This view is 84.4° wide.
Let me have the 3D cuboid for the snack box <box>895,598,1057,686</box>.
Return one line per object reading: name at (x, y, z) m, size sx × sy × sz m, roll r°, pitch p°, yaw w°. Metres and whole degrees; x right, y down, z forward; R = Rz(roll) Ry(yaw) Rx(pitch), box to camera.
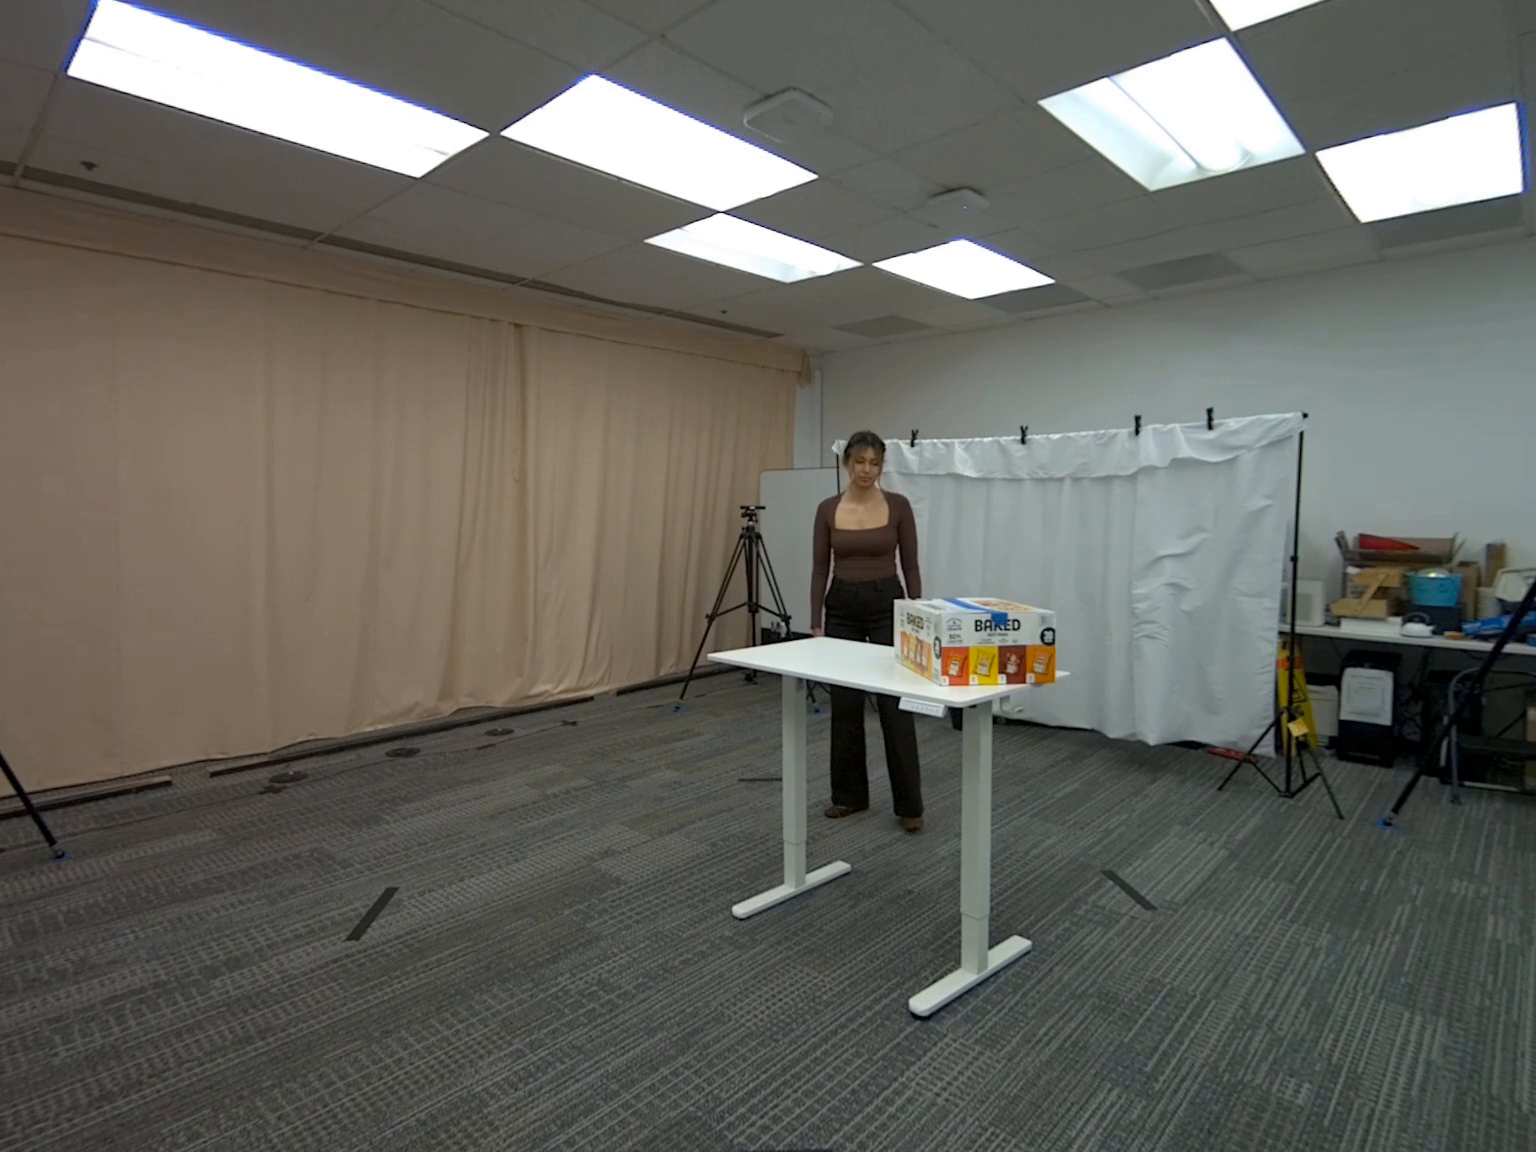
snack box at (0.615, 0.191, 2.560) m, size 0.338 × 0.205 × 0.409 m, roll 0°, pitch 4°, yaw -8°
